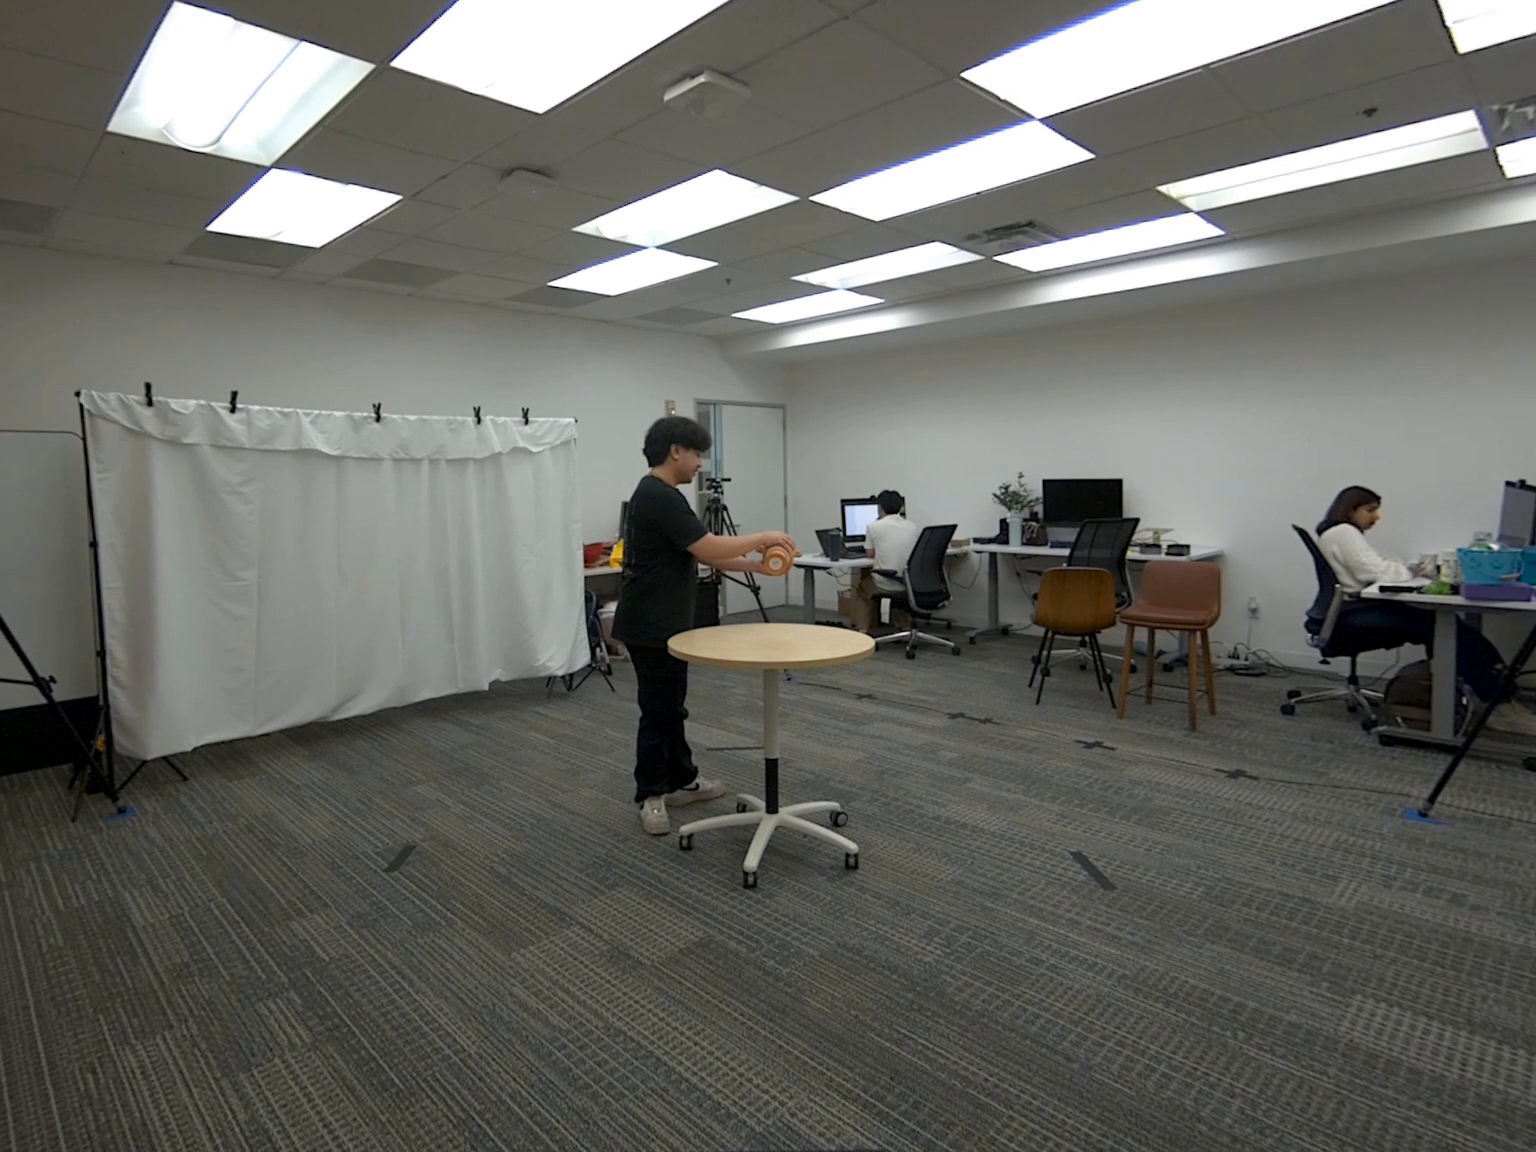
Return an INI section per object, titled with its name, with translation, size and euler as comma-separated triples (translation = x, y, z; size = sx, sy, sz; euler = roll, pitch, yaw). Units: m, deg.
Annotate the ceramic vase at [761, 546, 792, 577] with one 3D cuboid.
[ceramic vase]
translation = 0.032, -0.082, 3.551
size = 0.159, 0.133, 0.221
euler = -33, 11, 15
